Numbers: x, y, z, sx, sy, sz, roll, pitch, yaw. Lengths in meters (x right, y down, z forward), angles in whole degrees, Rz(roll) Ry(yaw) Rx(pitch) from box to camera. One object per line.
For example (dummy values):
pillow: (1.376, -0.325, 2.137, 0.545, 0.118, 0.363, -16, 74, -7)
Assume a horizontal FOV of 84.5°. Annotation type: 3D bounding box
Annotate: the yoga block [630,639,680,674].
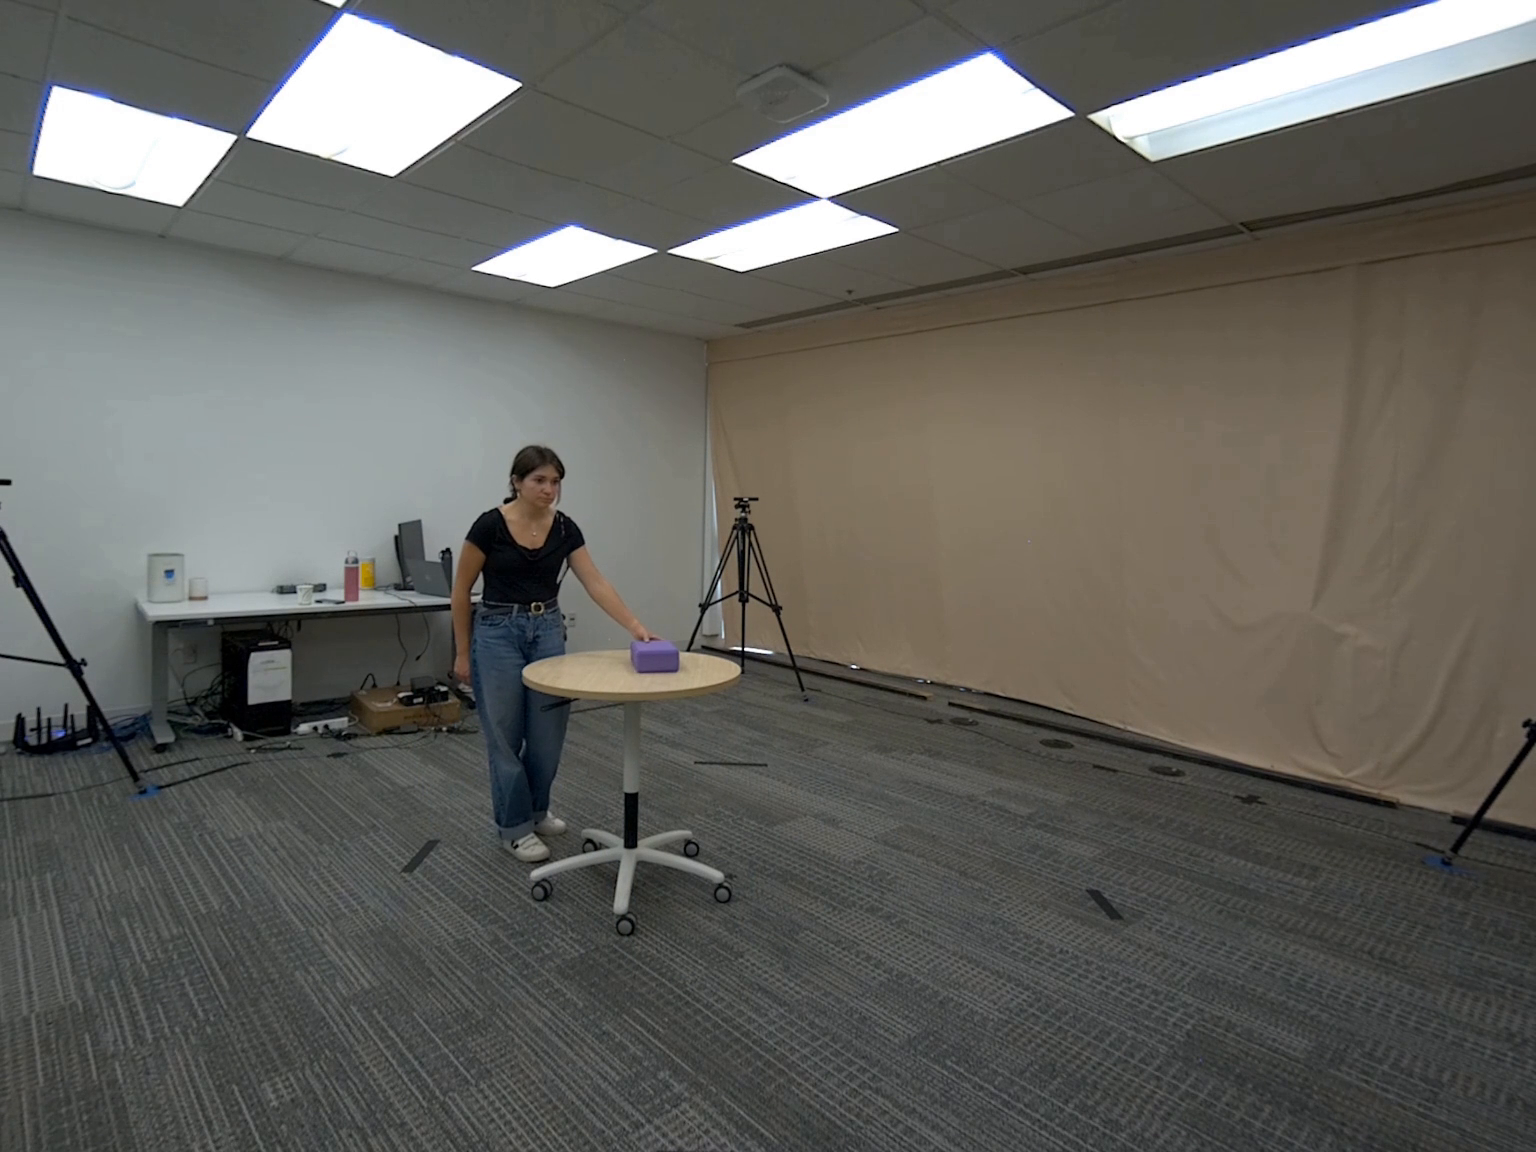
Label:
yoga block: (-0.421, 0.291, 3.011, 0.147, 0.076, 0.232, -1, 5, -13)
